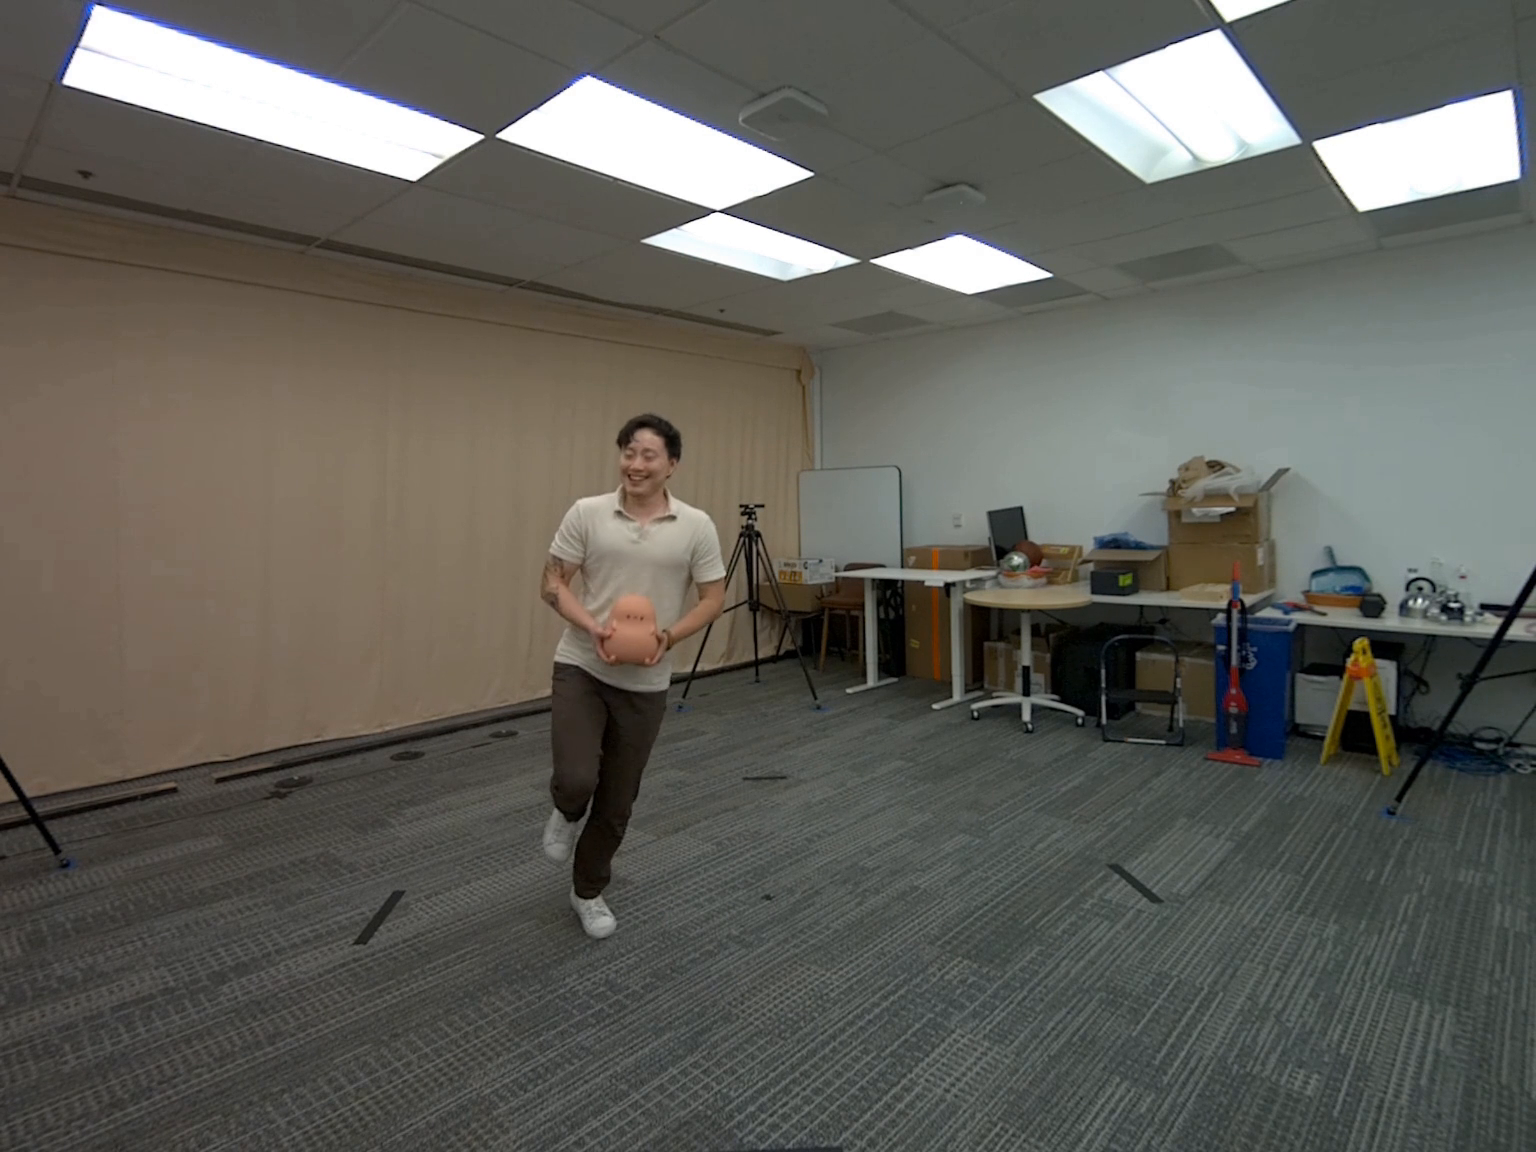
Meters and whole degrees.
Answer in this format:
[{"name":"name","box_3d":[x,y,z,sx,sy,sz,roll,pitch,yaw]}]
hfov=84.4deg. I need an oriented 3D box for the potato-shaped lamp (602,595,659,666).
[{"name":"potato-shaped lamp","box_3d":[-0.402,0.140,2.515,0.163,0.197,0.174,3,9,-11]}]
